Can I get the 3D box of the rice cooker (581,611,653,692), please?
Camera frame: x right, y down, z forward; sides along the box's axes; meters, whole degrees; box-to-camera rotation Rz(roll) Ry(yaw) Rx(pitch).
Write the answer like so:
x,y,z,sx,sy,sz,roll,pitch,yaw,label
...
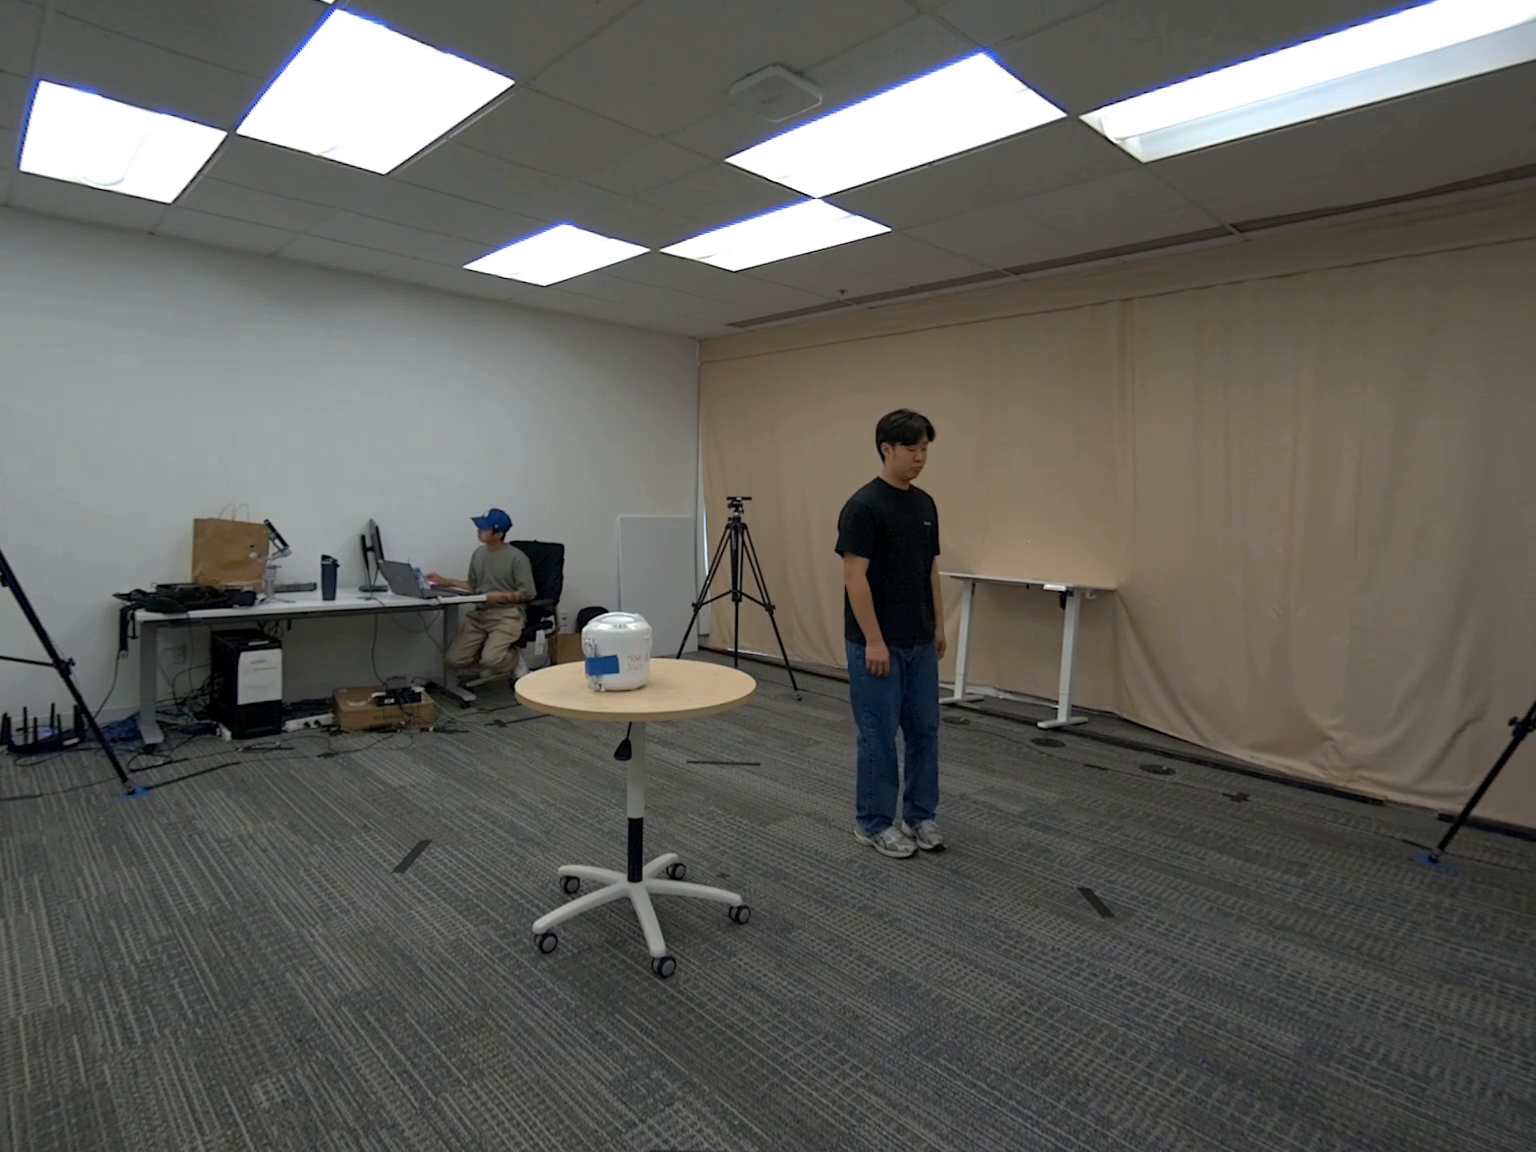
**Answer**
x,y,z,sx,sy,sz,roll,pitch,yaw,label
-0.478,0.230,2.647,0.218,0.232,0.220,1,5,-12,rice cooker
